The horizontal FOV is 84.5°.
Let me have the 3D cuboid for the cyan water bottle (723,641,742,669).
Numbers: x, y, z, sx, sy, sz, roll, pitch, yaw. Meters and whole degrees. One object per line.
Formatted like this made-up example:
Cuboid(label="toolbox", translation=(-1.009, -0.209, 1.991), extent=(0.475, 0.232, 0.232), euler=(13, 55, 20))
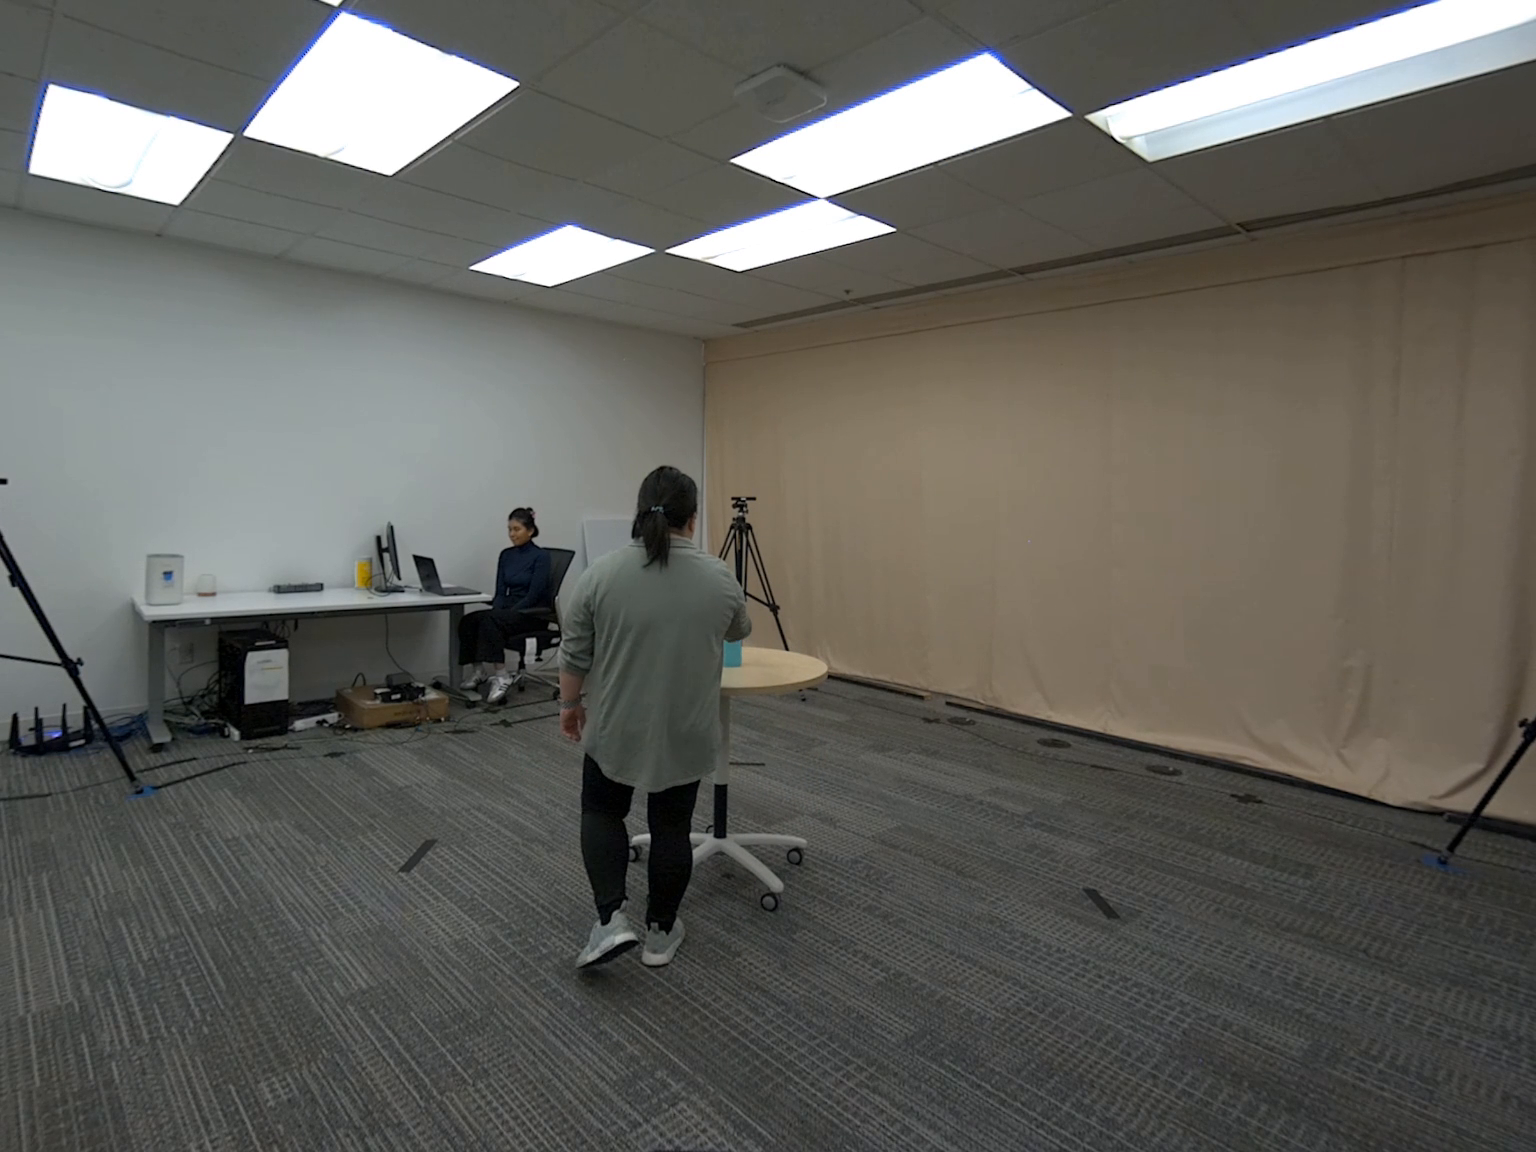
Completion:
Cuboid(label="cyan water bottle", translation=(-0.140, 0.190, 3.067), extent=(0.092, 0.283, 0.092), euler=(0, 3, -1))
